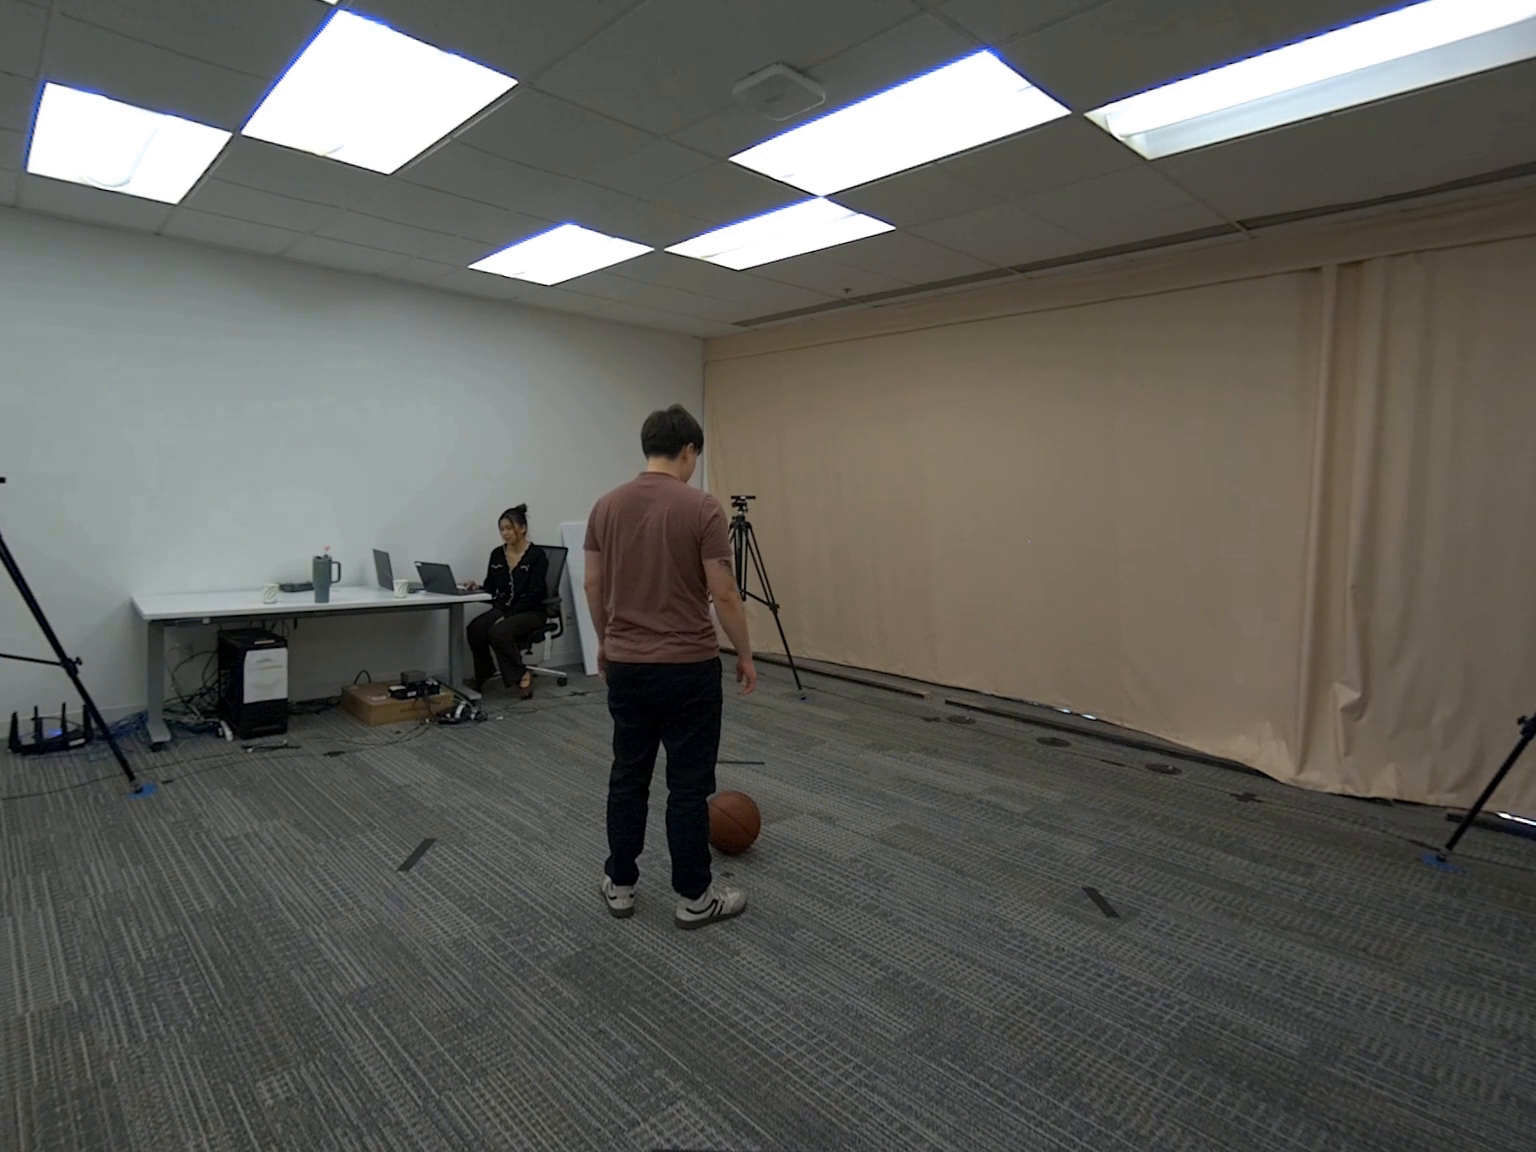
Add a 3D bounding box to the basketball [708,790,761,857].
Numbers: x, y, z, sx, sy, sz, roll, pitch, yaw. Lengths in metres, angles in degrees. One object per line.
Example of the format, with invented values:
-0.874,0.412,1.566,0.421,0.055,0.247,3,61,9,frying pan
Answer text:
-0.151,0.968,3.309,0.236,0.235,0.237,1,4,-1,basketball
